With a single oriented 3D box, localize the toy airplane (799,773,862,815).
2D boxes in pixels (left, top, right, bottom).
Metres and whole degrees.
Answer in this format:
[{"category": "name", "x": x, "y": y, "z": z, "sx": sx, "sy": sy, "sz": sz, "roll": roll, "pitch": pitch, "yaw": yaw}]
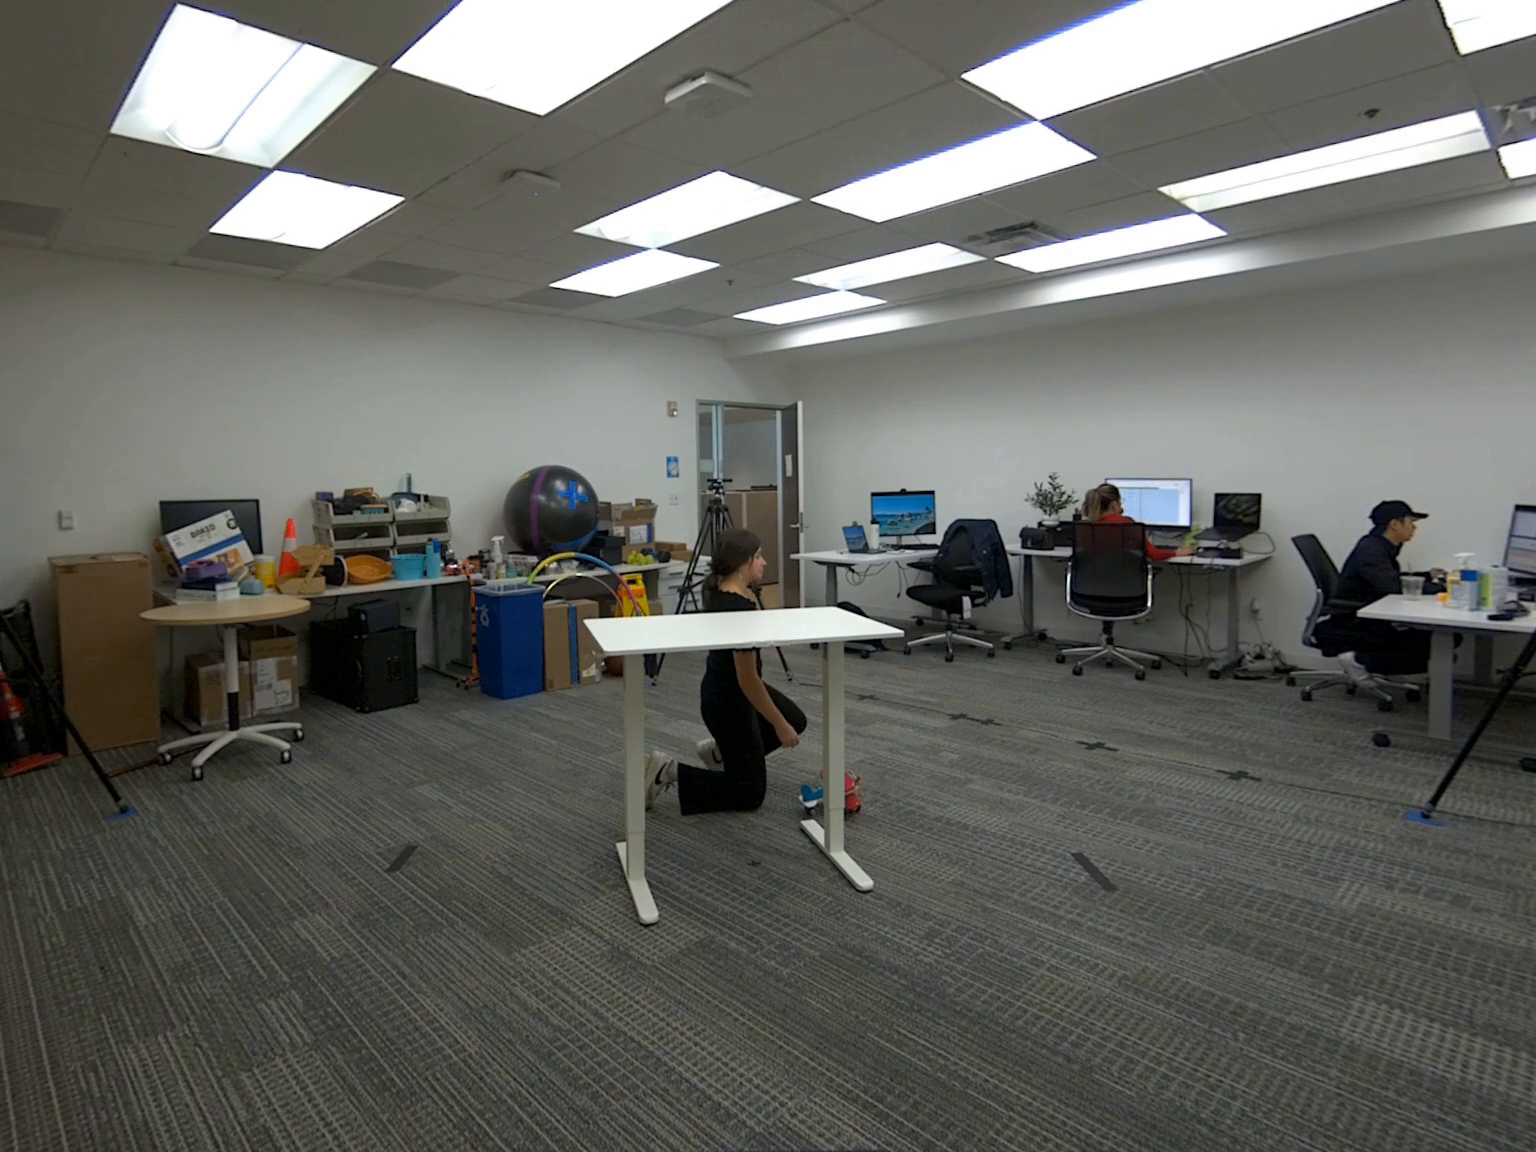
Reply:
[{"category": "toy airplane", "x": 0.272, "y": 0.912, "z": 3.557, "sx": 0.252, "sy": 0.156, "sz": 0.259, "roll": -4, "pitch": 5, "yaw": -45}]
